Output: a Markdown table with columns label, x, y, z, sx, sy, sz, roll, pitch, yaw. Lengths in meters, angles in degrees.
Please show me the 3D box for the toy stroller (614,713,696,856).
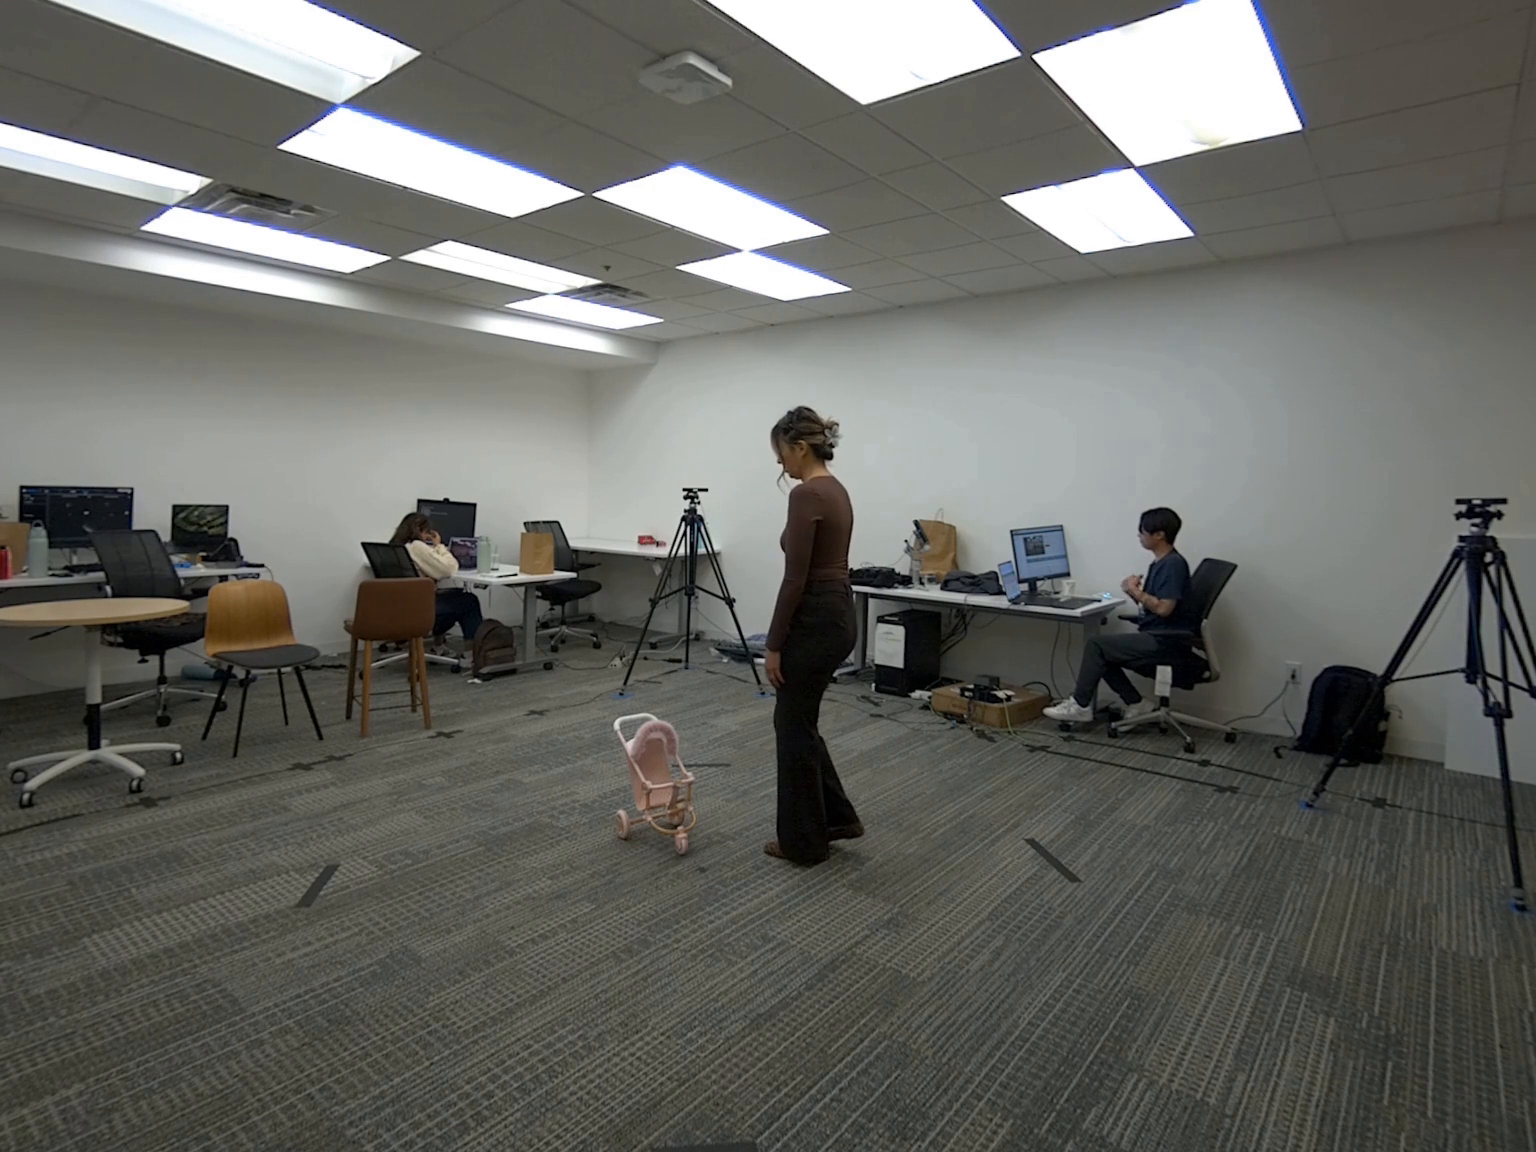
| label | x | y | z | sx | sy | sz | roll | pitch | yaw |
| --- | --- | --- | --- | --- | --- | --- | --- | --- | --- |
| toy stroller | -0.449 | 0.810 | 3.386 | 0.274 | 0.541 | 0.347 | -1 | -11 | -31 |
